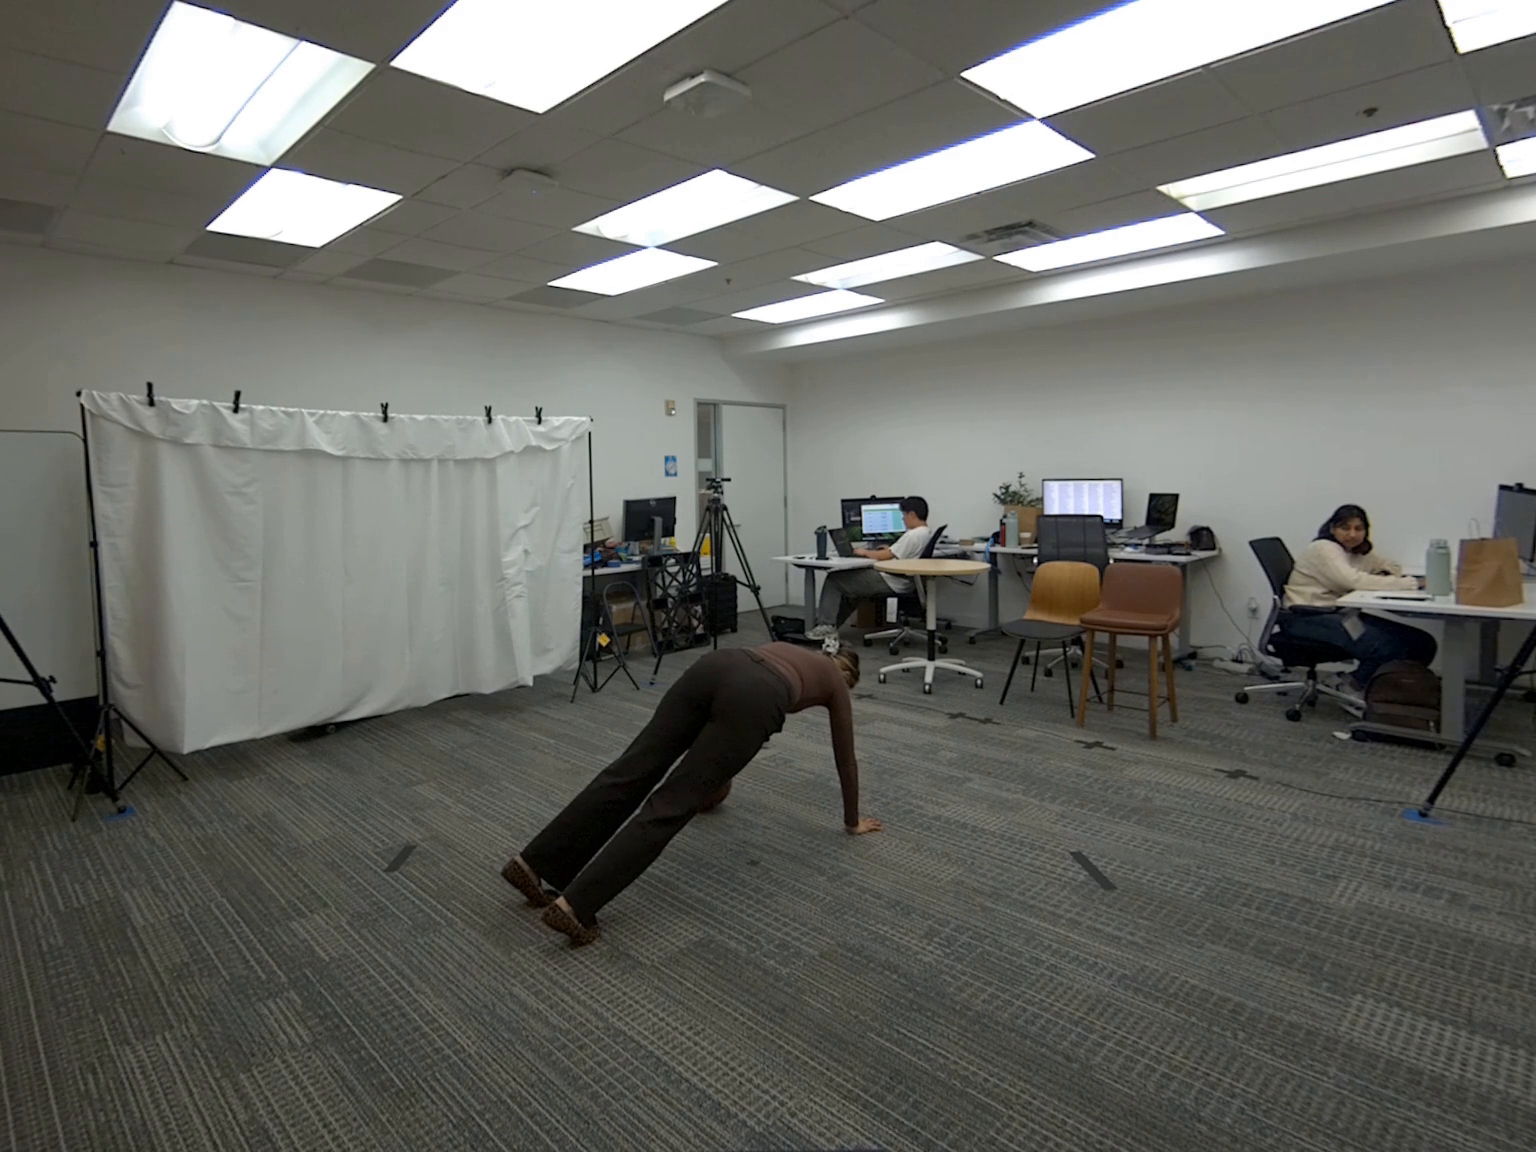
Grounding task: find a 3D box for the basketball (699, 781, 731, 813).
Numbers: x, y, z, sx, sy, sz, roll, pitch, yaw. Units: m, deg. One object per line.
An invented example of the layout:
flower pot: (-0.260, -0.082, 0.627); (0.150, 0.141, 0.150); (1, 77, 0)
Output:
basketball: (-0.264, 0.862, 3.642); (0.236, 0.235, 0.237); (-1, 5, -2)
